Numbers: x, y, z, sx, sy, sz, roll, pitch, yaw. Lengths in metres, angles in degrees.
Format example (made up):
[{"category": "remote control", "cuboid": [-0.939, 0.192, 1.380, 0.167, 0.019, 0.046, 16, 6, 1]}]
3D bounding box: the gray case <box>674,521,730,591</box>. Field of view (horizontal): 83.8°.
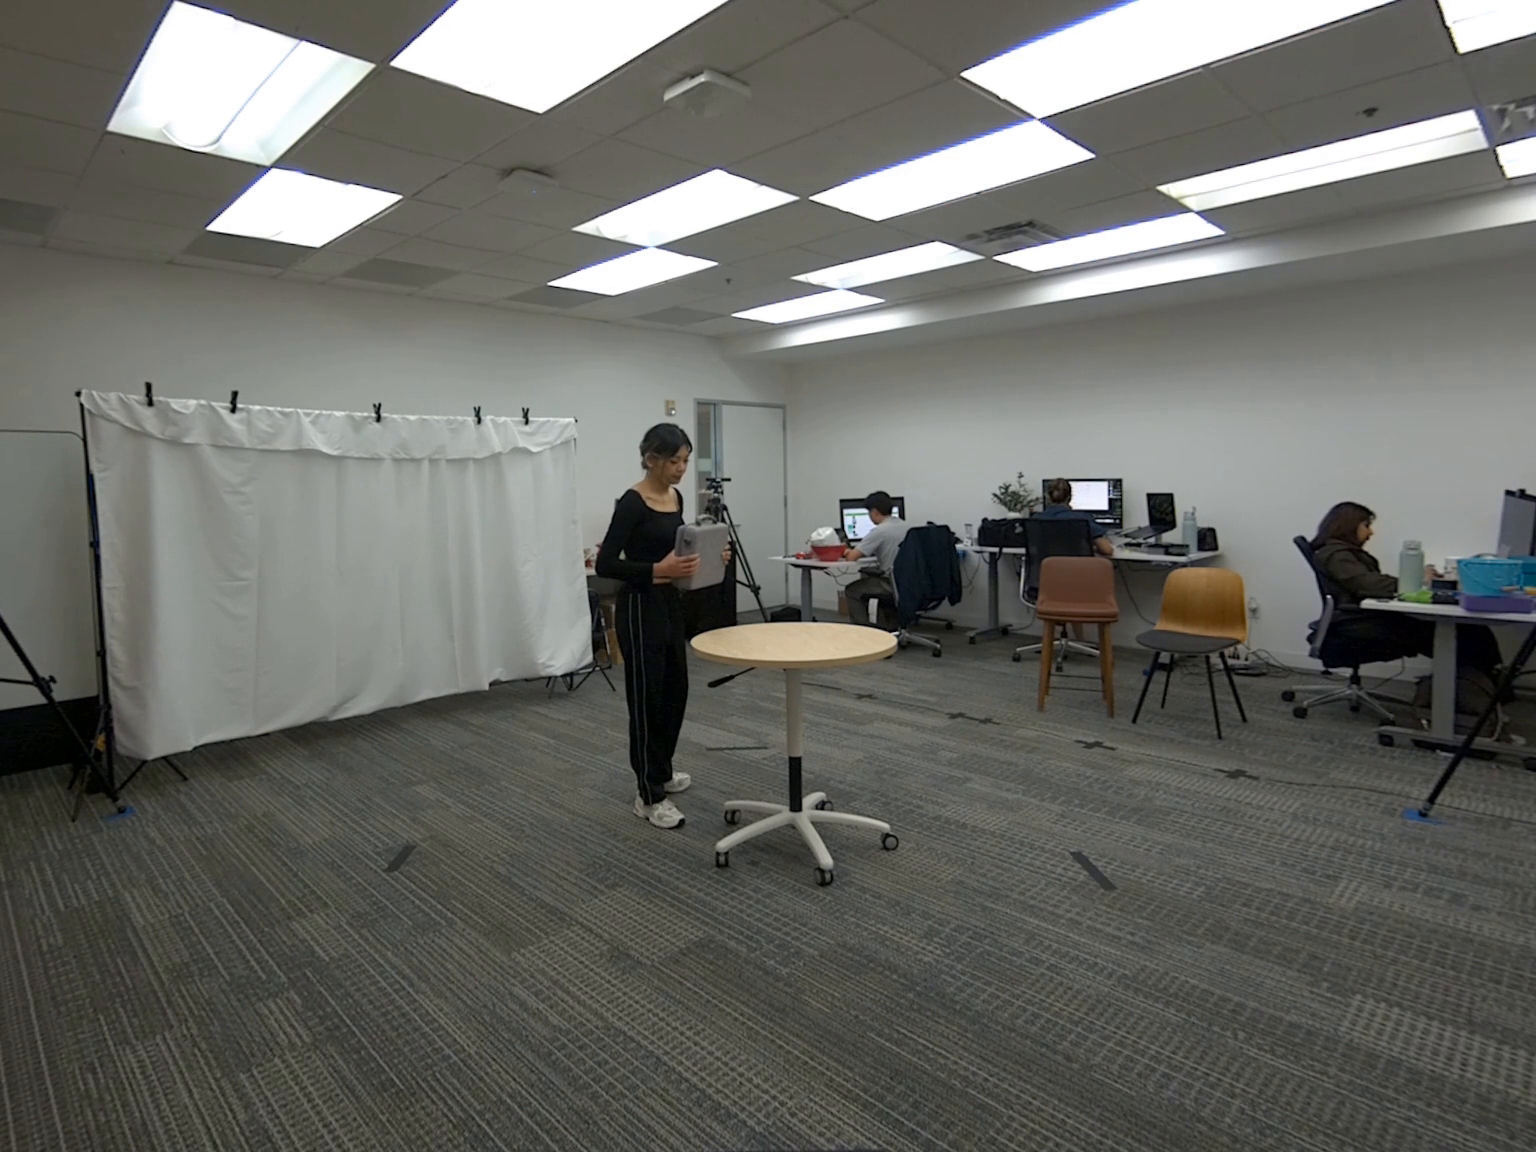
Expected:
[{"category": "gray case", "cuboid": [-0.267, -0.092, 3.401, 0.107, 0.258, 0.252, 14, 14, 28]}]
